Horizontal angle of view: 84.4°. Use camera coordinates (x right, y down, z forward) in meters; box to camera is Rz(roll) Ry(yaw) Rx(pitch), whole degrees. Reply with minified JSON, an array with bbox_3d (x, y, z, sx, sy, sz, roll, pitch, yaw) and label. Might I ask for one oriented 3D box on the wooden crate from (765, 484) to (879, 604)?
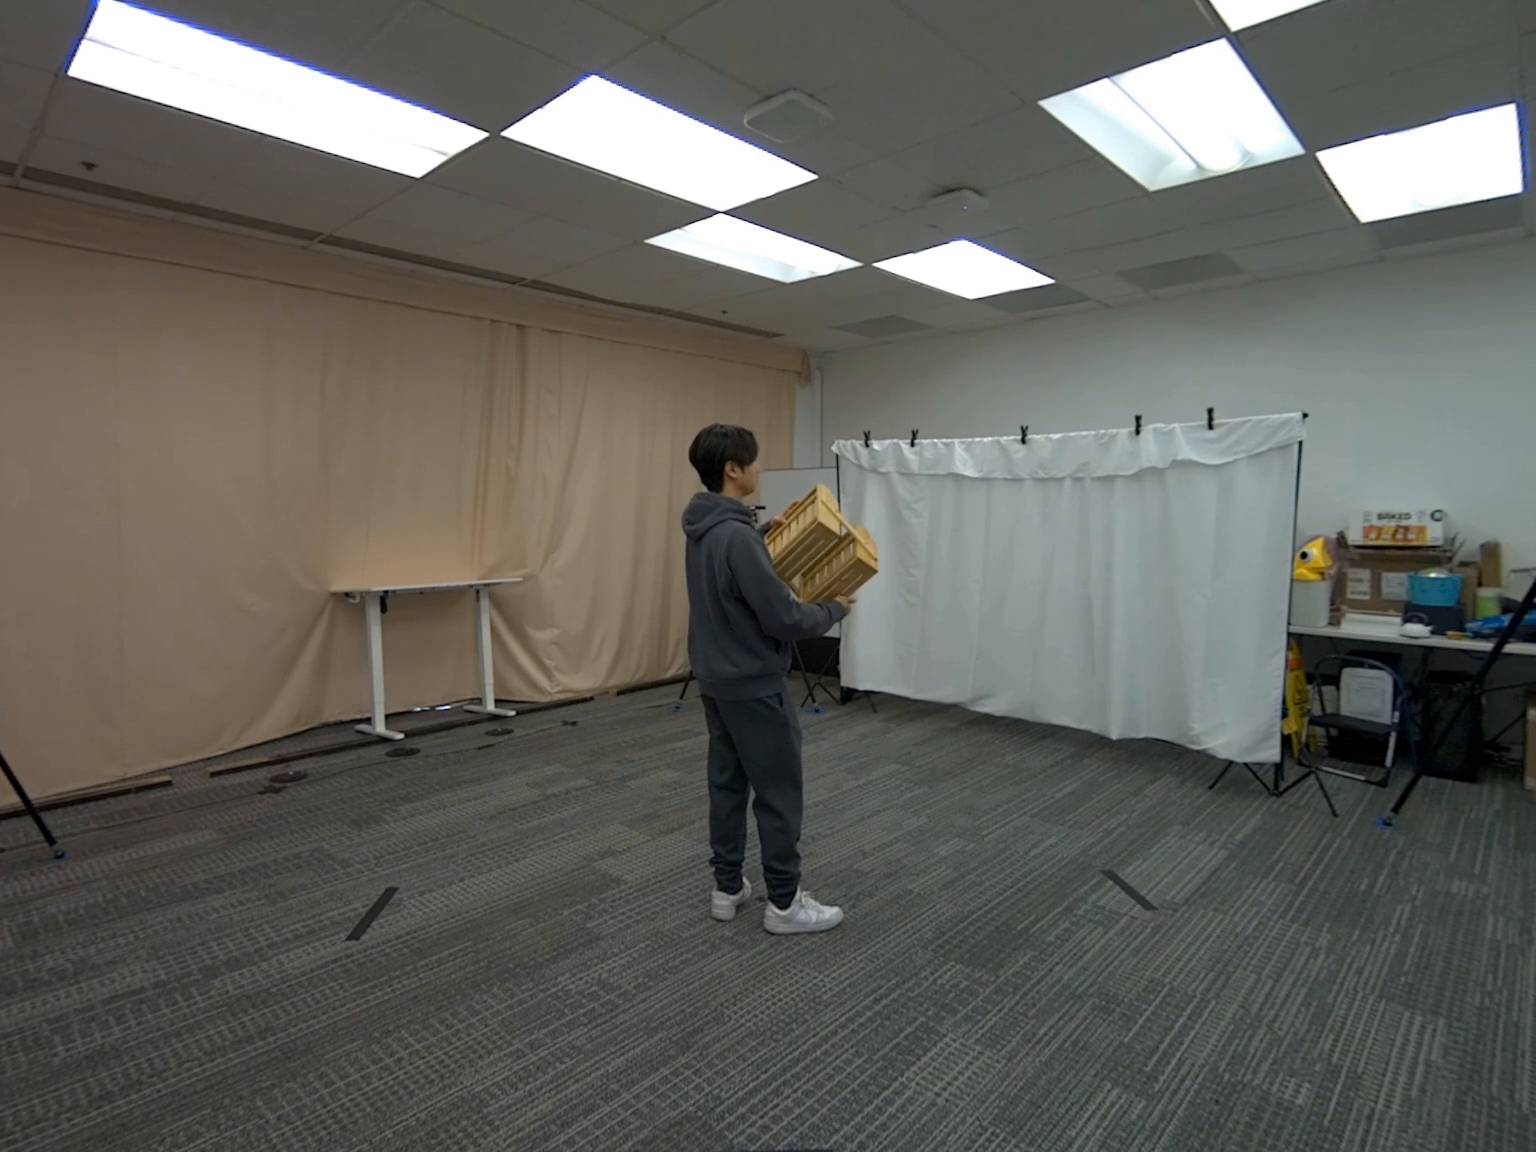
[{"bbox_3d":[0.188,-0.082,2.934,0.267,0.327,0.306,34,33,-19],"label":"wooden crate"}]
